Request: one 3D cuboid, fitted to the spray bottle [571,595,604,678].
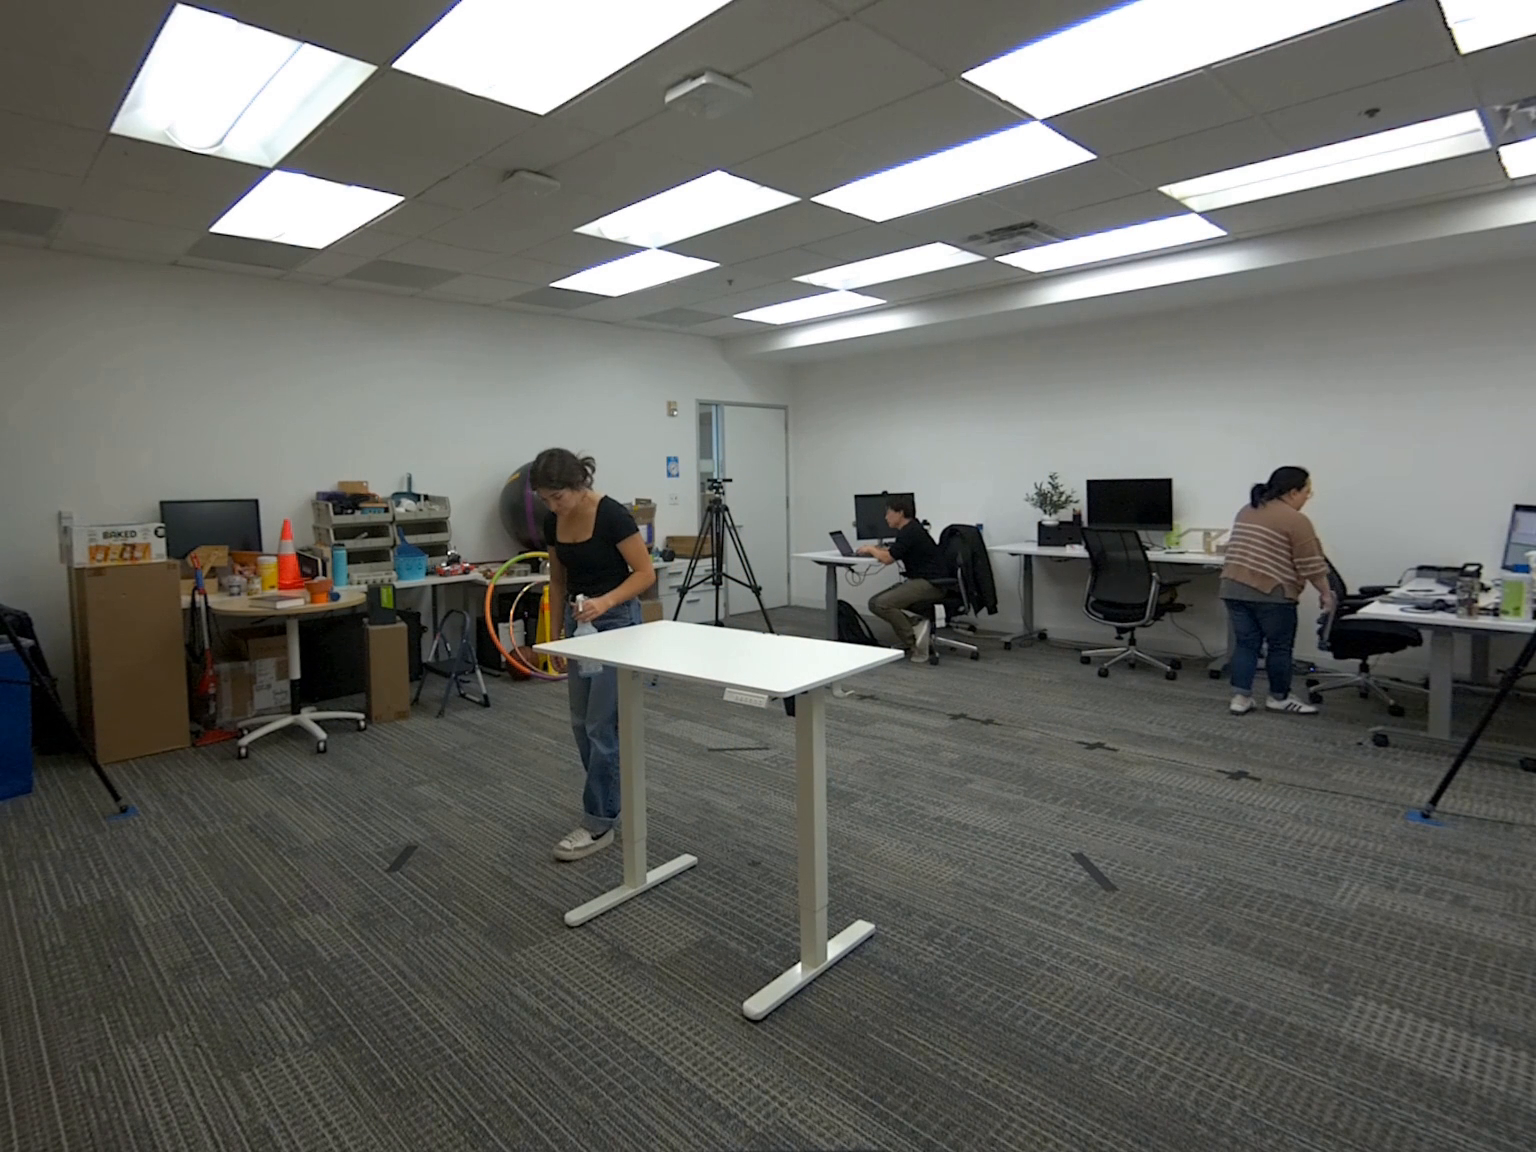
[{"bbox_3d":[-0.674,0.222,3.109,0.089,0.295,0.089,-4,7,25],"label":"spray bottle"}]
